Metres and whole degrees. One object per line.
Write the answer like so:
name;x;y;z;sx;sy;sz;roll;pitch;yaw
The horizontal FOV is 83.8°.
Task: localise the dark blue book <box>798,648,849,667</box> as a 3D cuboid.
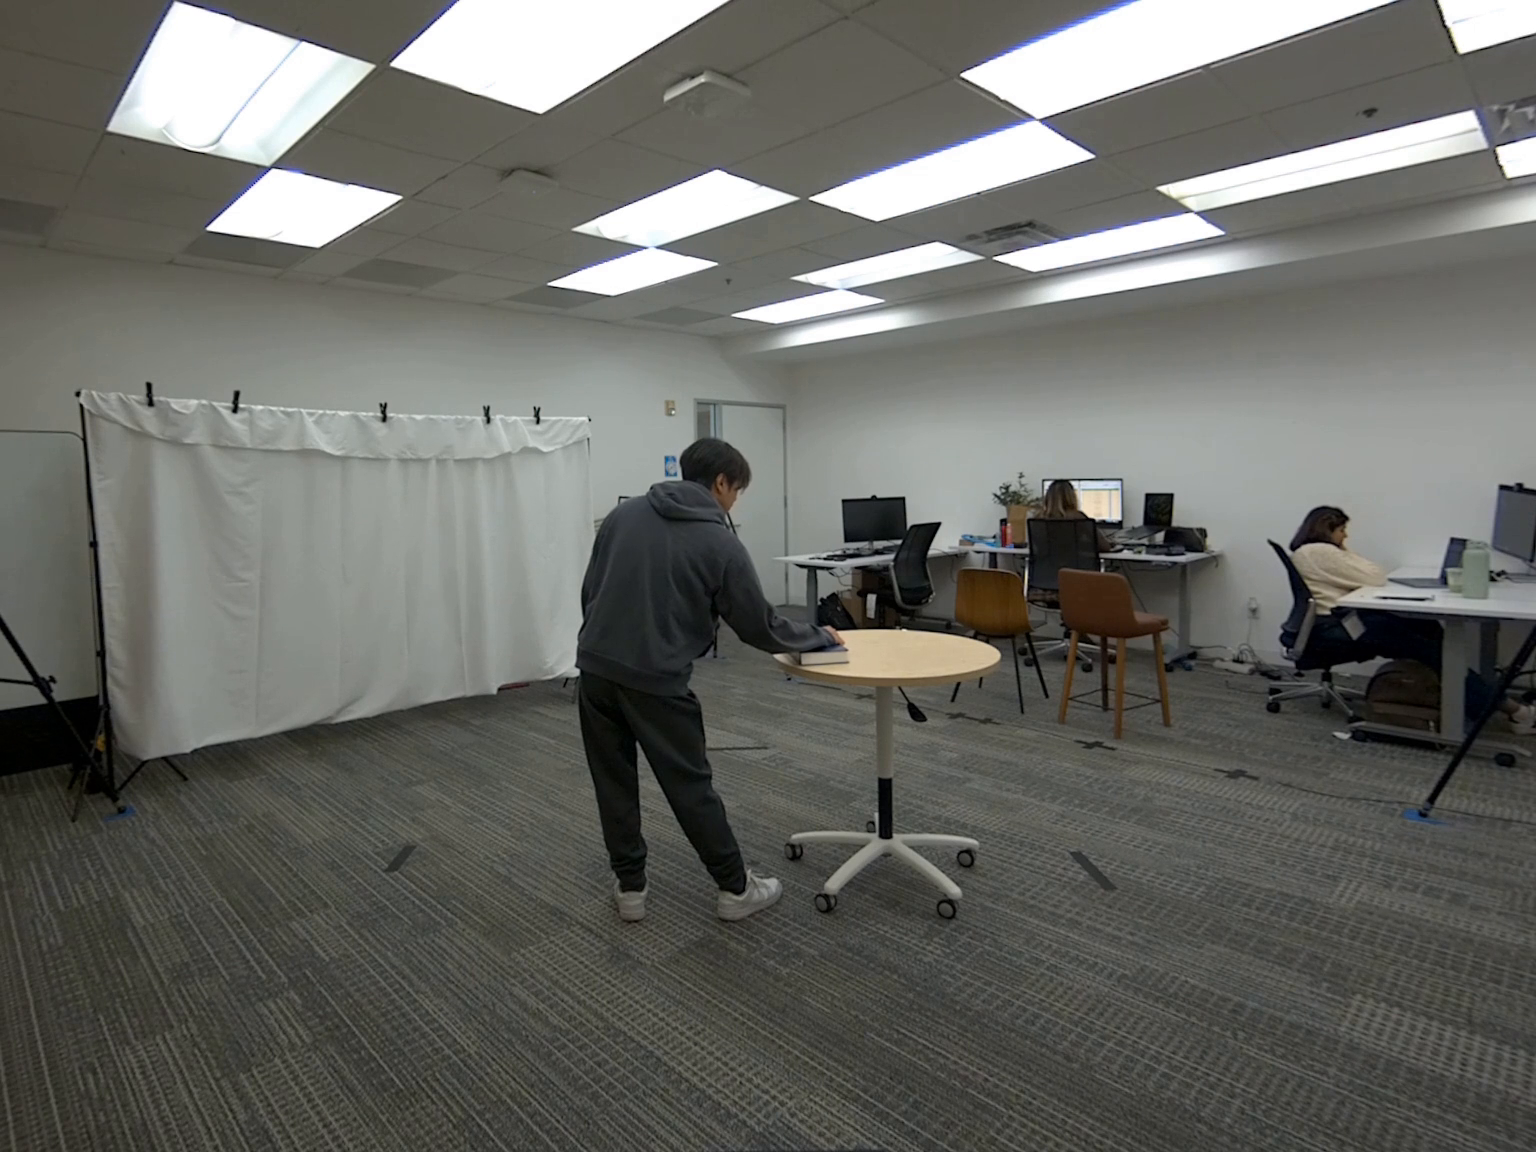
dark blue book;0.167;0.250;2.872;0.162;0.045;0.249;-3;8;-11
